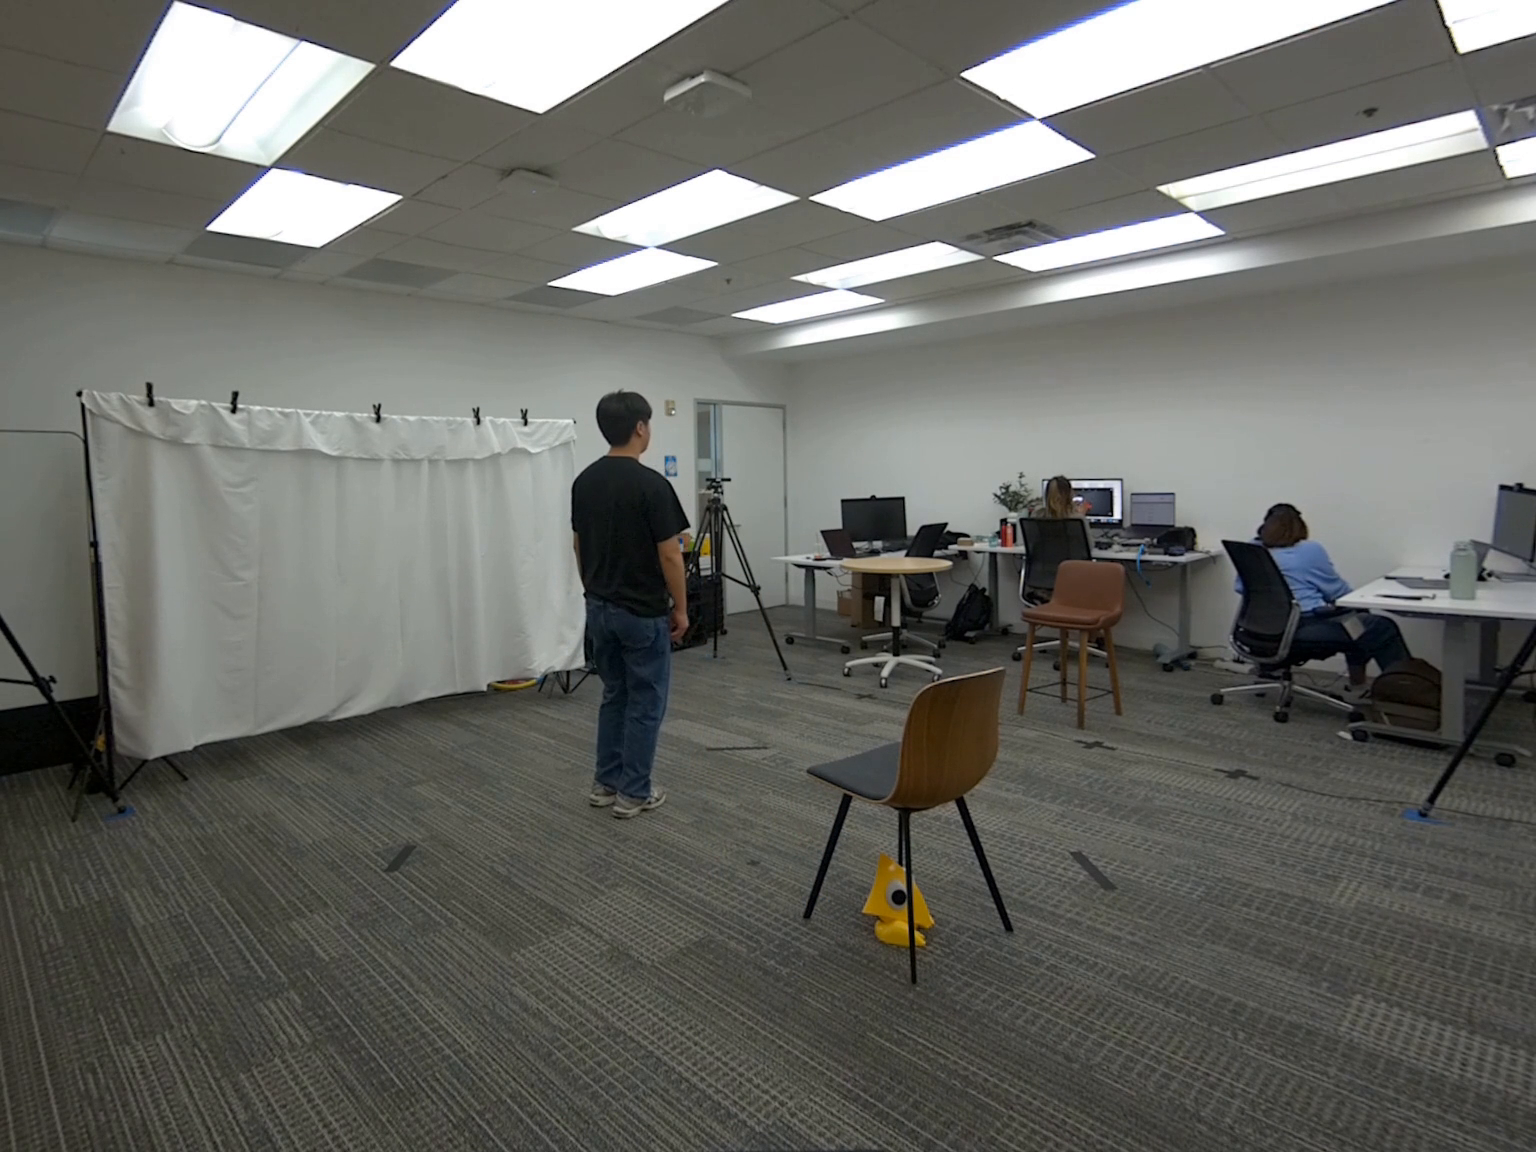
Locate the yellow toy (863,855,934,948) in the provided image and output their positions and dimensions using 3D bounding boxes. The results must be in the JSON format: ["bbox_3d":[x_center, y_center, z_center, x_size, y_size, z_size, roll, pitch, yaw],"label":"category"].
[{"bbox_3d":[0.411,0.977,2.633,0.197,0.230,0.201,-1,5,24],"label":"yellow toy"}]
